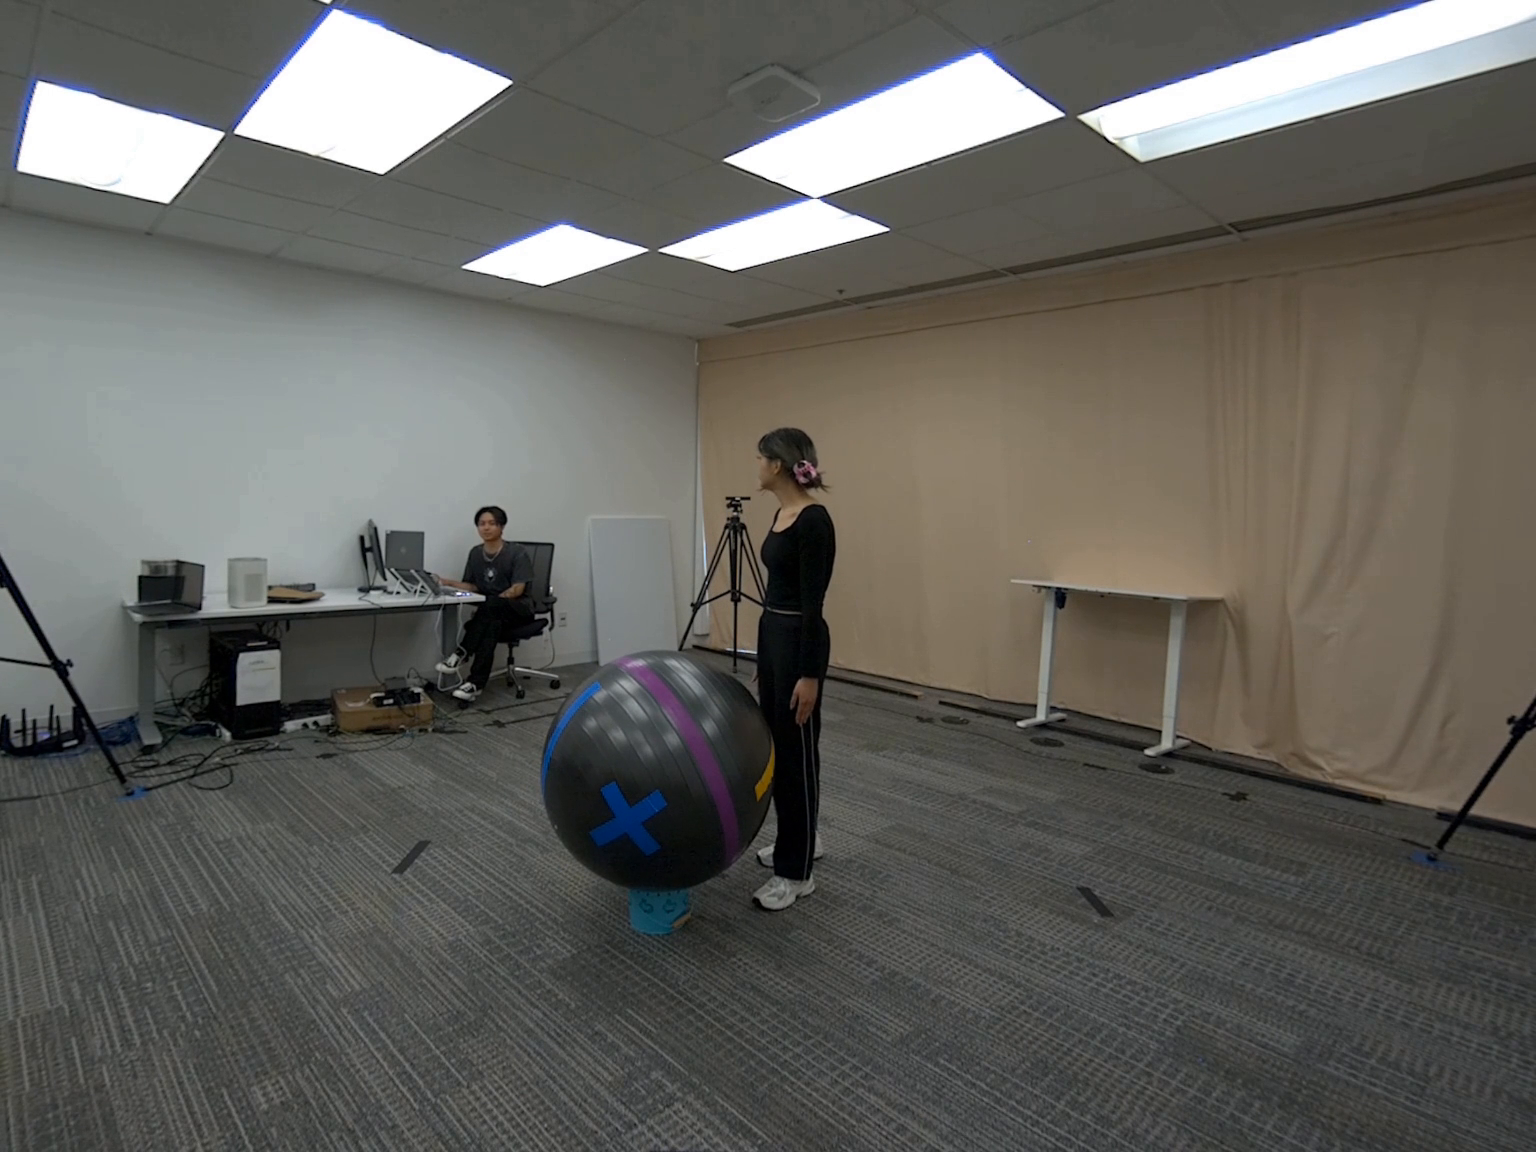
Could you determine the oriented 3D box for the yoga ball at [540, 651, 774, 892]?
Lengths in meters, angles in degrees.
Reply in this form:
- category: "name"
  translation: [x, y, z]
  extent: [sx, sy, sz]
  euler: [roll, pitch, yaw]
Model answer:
- category: "yoga ball"
  translation: [-0.355, 0.631, 2.737]
  extent: [0.757, 0.756, 0.761]
  euler: [1, 4, -1]
